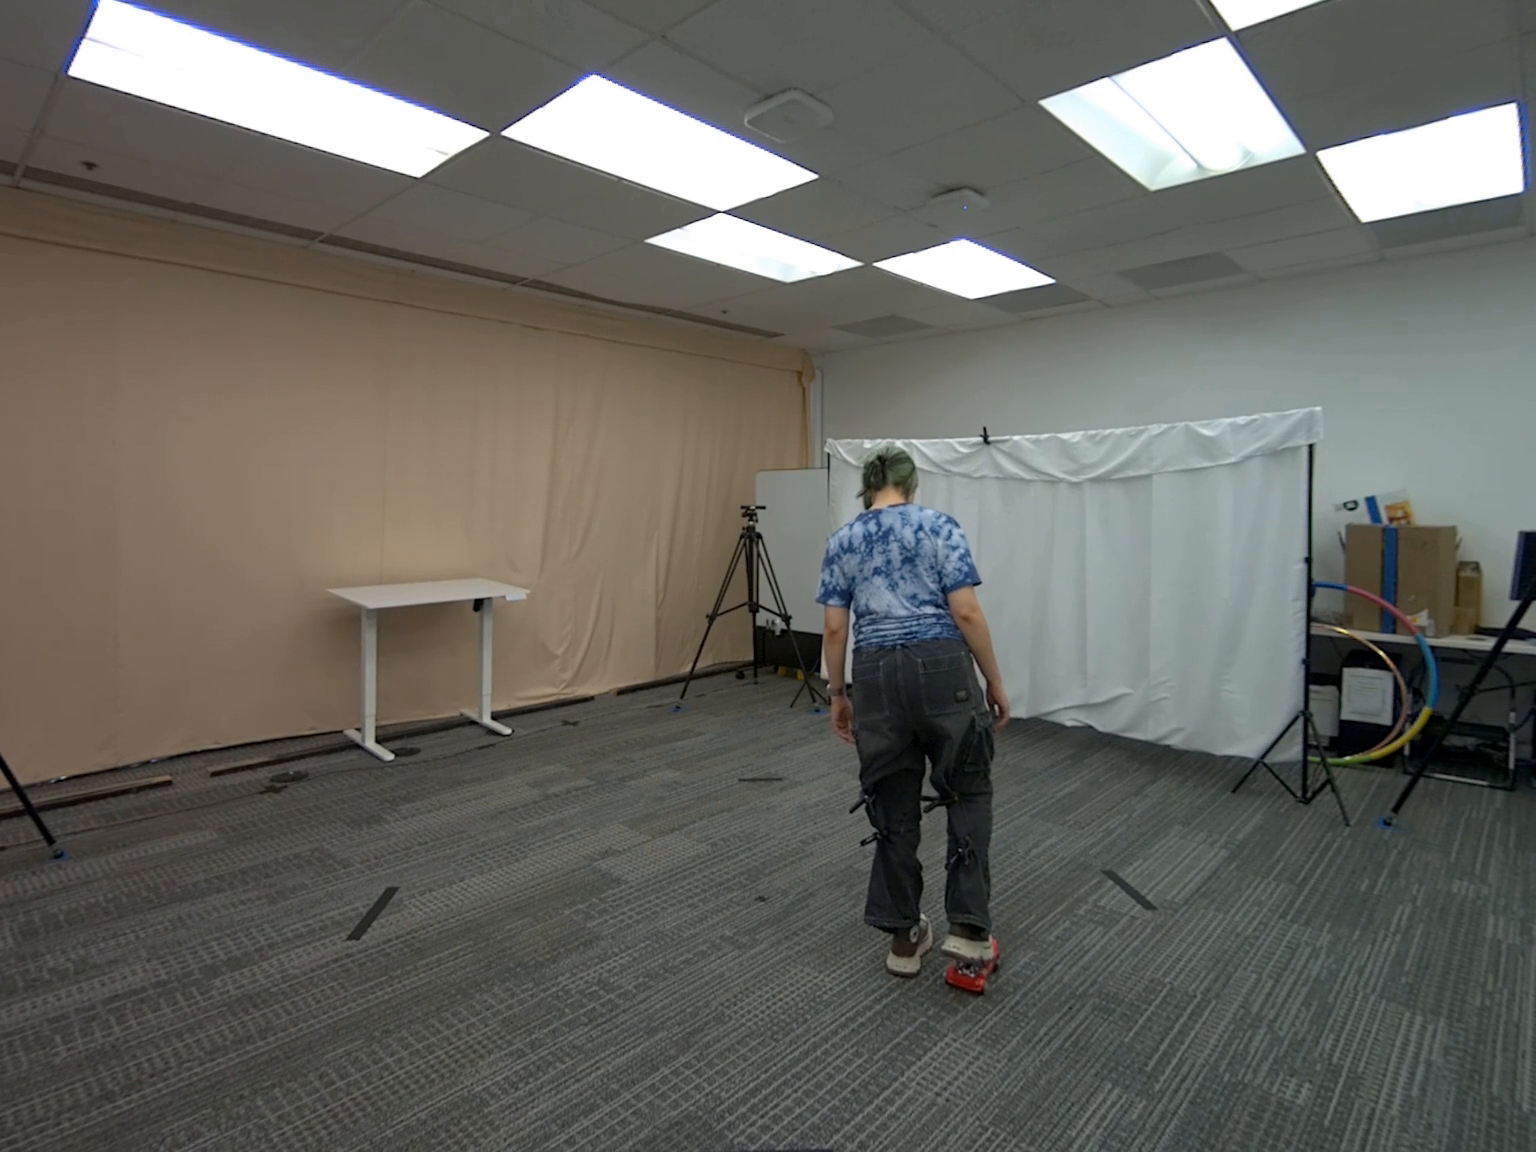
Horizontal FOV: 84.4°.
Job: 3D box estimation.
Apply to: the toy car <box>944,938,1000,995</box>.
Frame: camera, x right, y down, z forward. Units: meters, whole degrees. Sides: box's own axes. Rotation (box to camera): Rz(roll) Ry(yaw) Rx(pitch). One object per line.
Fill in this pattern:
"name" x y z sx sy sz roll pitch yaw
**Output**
"toy car" 0.622 1.155 2.501 0.134 0.082 0.250 3 17 29
